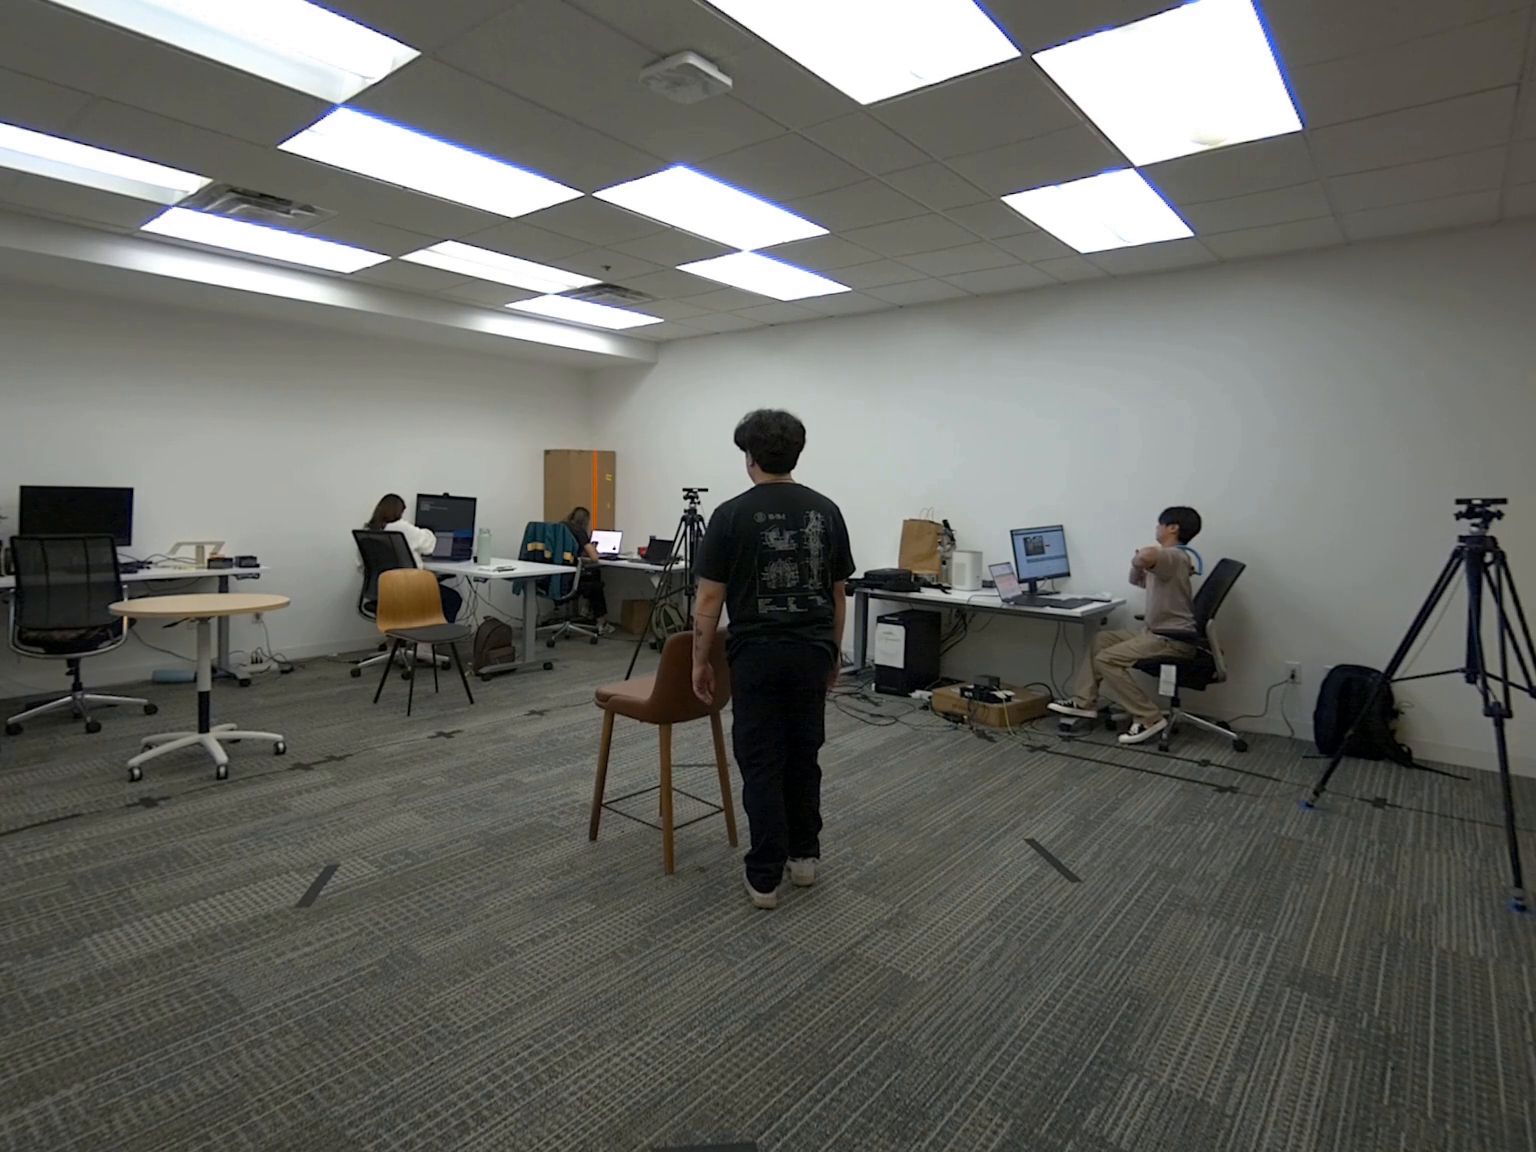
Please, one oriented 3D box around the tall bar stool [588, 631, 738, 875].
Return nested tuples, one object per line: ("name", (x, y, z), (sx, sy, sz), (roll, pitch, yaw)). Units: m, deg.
("tall bar stool", (-0.403, 0.611, 3.314), (0.484, 0.886, 0.443), (6, 6, 41))
